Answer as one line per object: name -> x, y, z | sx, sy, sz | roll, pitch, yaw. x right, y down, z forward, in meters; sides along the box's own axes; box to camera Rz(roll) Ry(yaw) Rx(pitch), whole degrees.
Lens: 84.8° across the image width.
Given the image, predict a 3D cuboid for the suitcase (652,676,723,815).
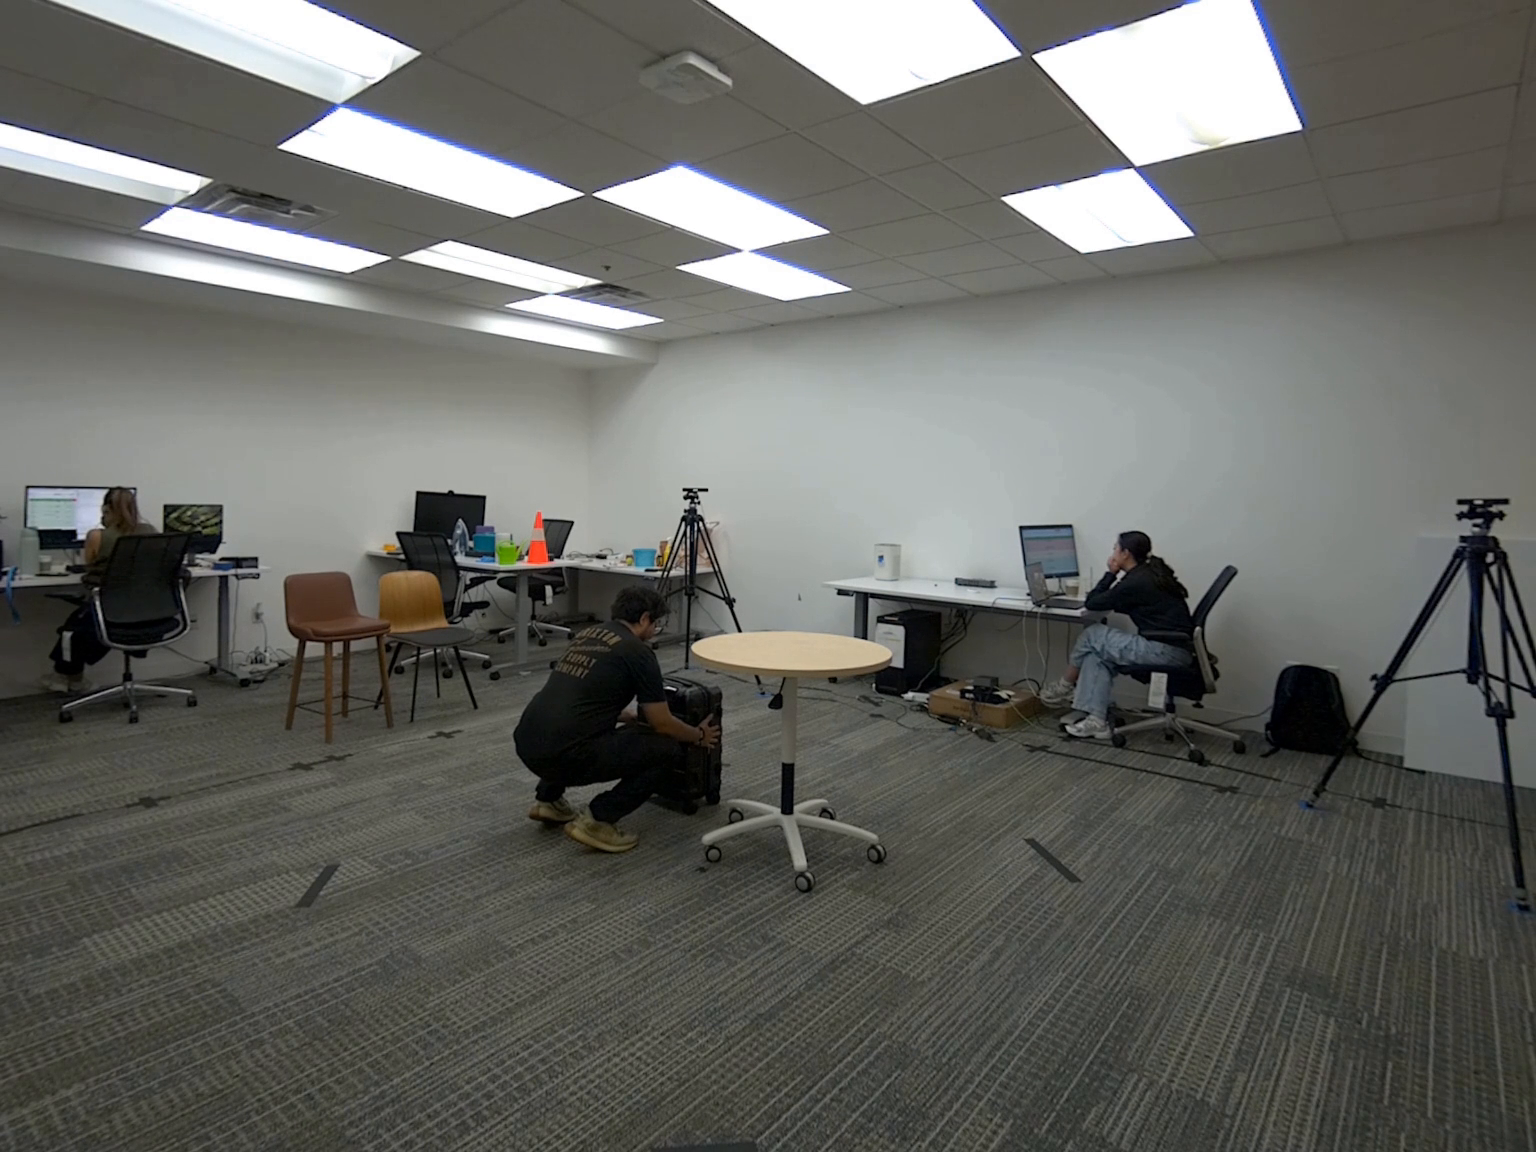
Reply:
suitcase -> -0.415, 0.728, 3.787 | 0.387, 0.549, 0.241 | 2, 2, 38
